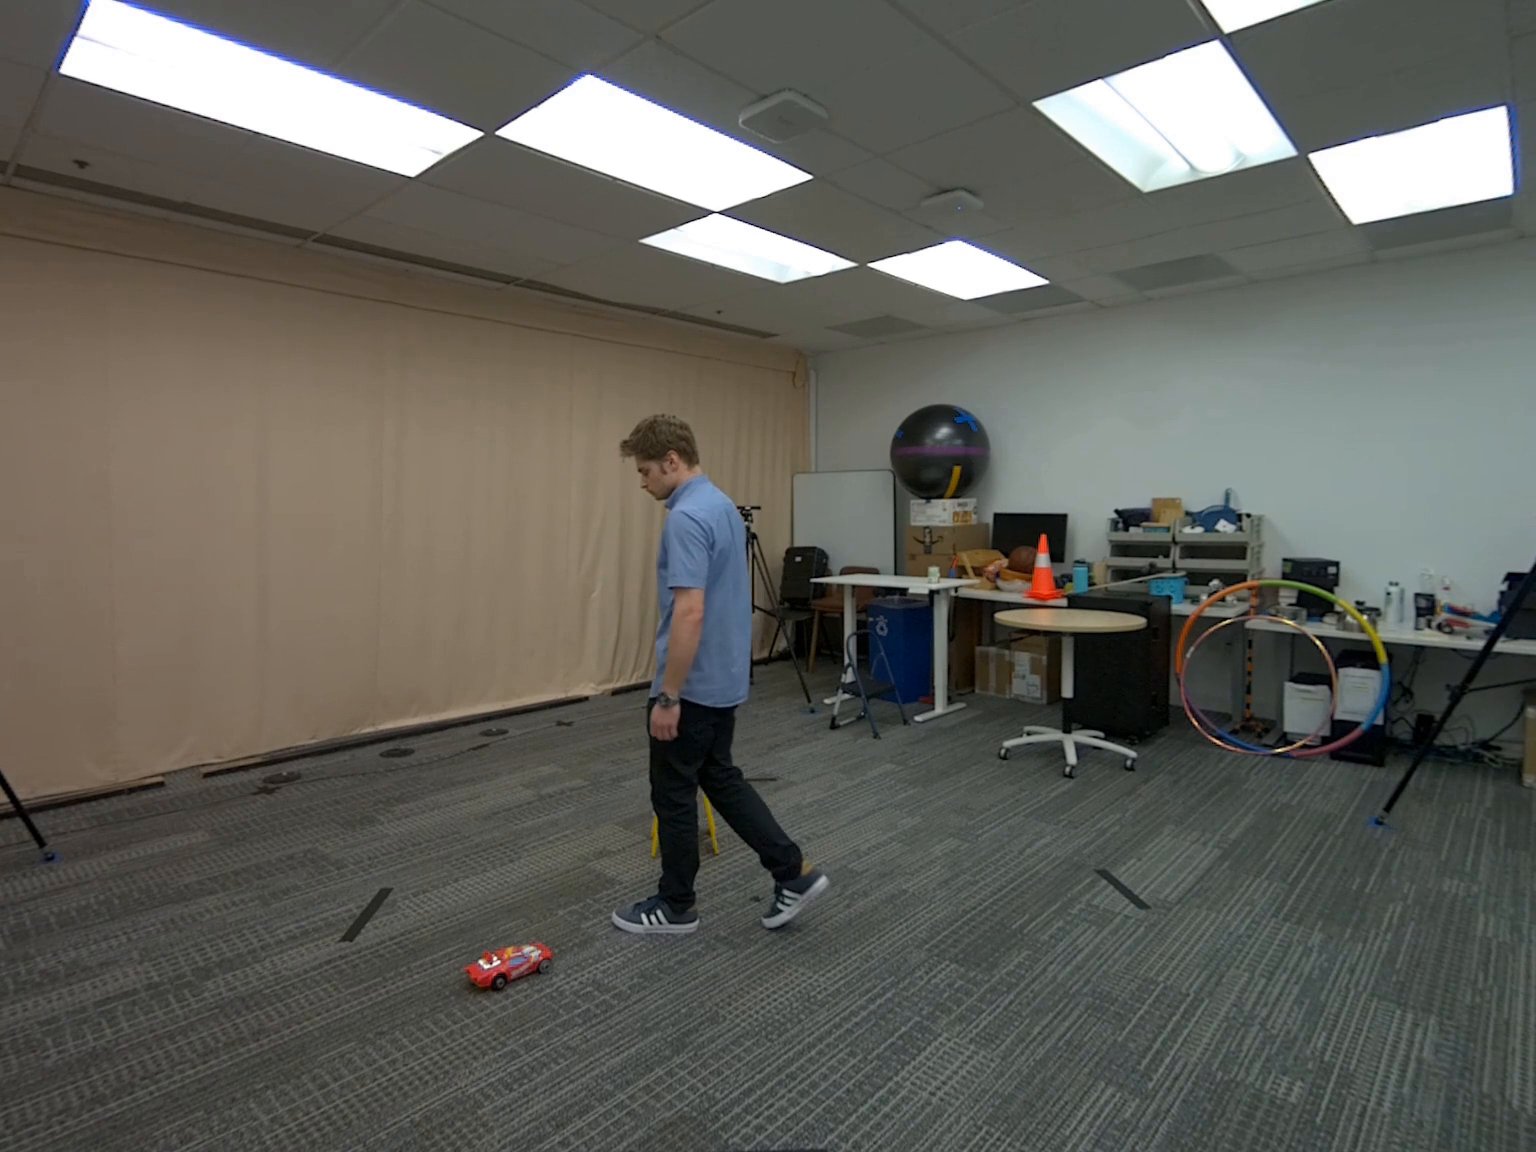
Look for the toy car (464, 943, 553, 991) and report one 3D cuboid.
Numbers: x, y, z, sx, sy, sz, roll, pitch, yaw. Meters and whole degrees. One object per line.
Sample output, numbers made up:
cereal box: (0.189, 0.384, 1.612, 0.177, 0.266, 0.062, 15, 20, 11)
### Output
toy car: (-0.777, 1.162, 2.492, 0.246, 0.083, 0.134, 11, -4, -39)
